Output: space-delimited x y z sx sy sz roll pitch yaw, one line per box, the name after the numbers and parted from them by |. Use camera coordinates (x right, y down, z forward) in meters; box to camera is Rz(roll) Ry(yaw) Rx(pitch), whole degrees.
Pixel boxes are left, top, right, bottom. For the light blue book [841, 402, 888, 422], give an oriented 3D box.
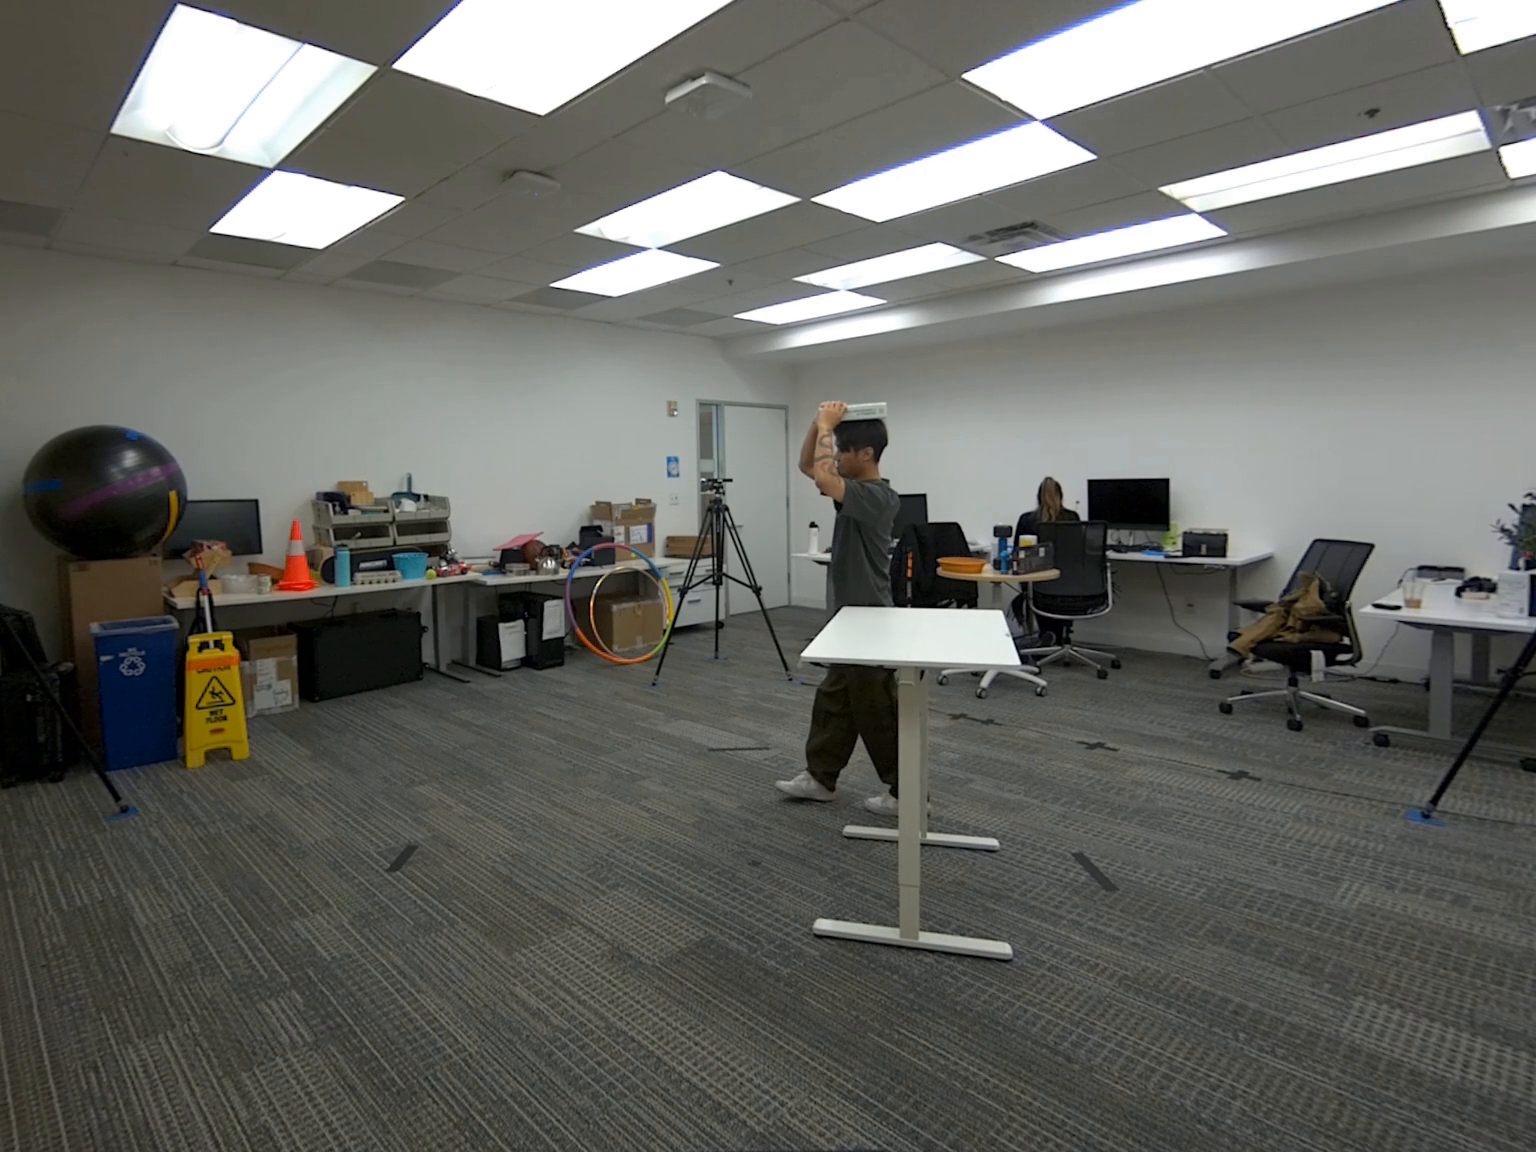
0.344 -0.665 3.454 0.263 0.058 0.192 -3 14 6 | light blue book
